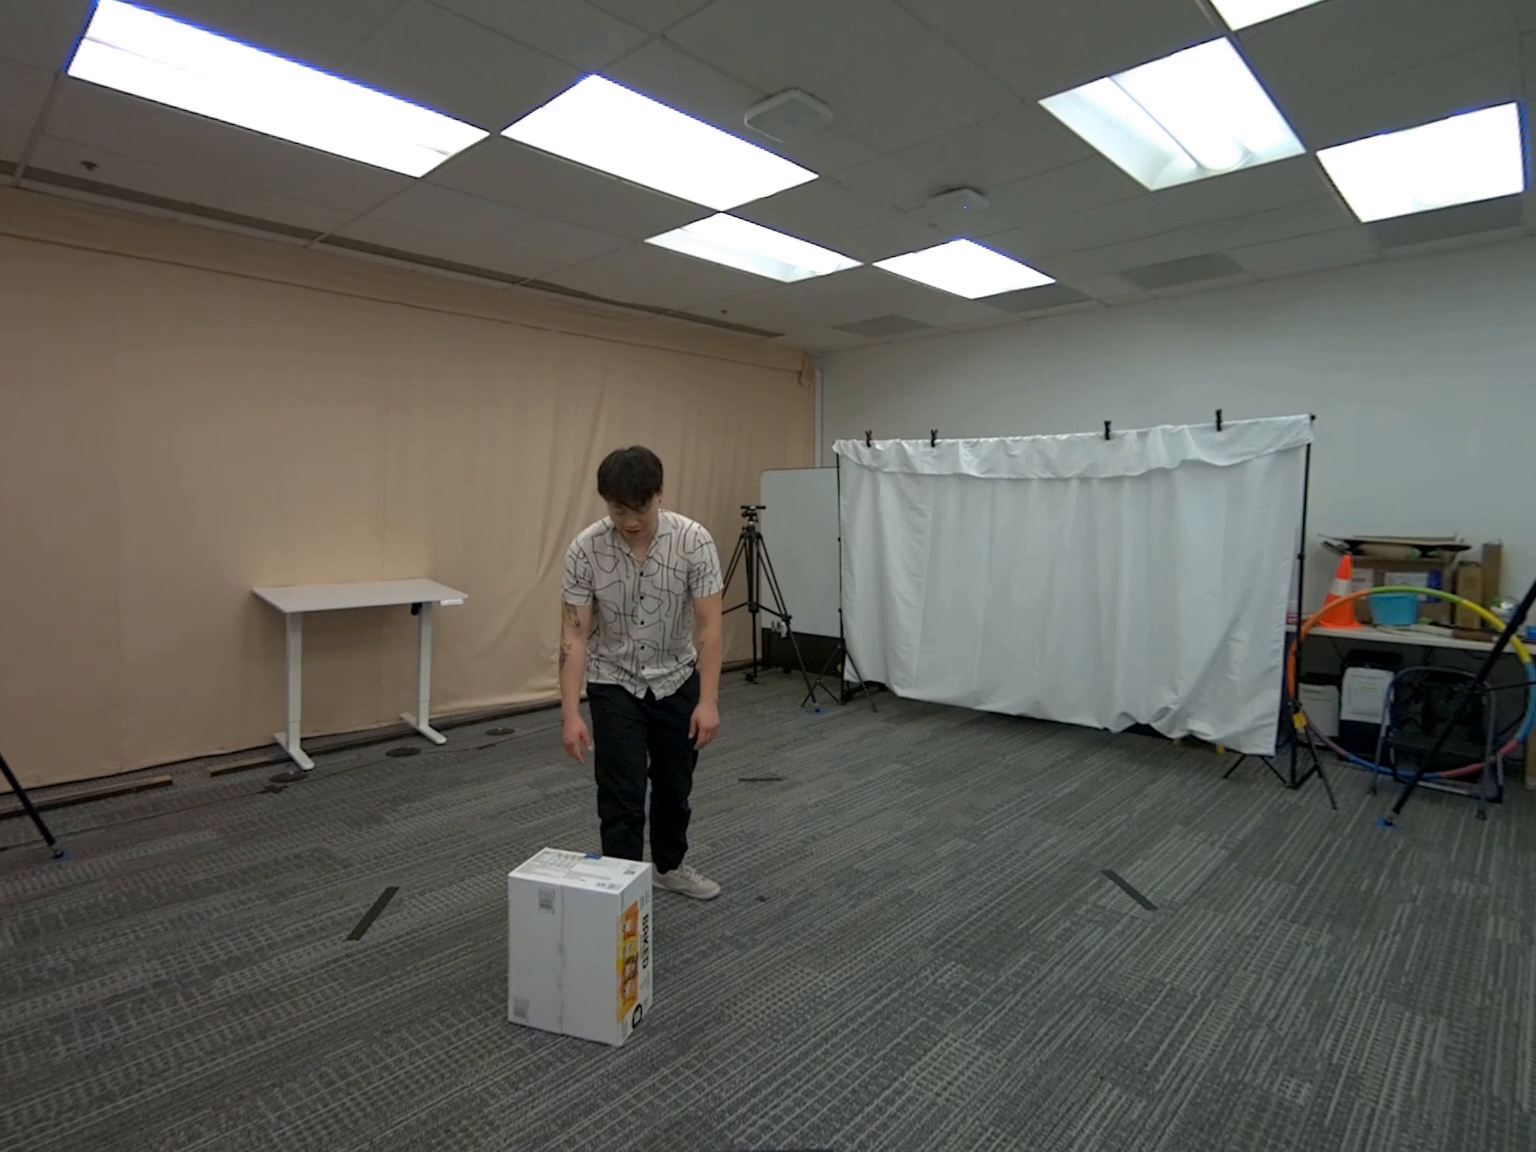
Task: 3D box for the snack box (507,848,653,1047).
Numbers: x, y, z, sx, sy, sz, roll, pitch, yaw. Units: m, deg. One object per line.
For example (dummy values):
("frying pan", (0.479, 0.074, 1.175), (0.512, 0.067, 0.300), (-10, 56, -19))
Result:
("snack box", (-0.514, 0.998, 2.302), (0.347, 0.404, 0.202), (1, 3, 19))
